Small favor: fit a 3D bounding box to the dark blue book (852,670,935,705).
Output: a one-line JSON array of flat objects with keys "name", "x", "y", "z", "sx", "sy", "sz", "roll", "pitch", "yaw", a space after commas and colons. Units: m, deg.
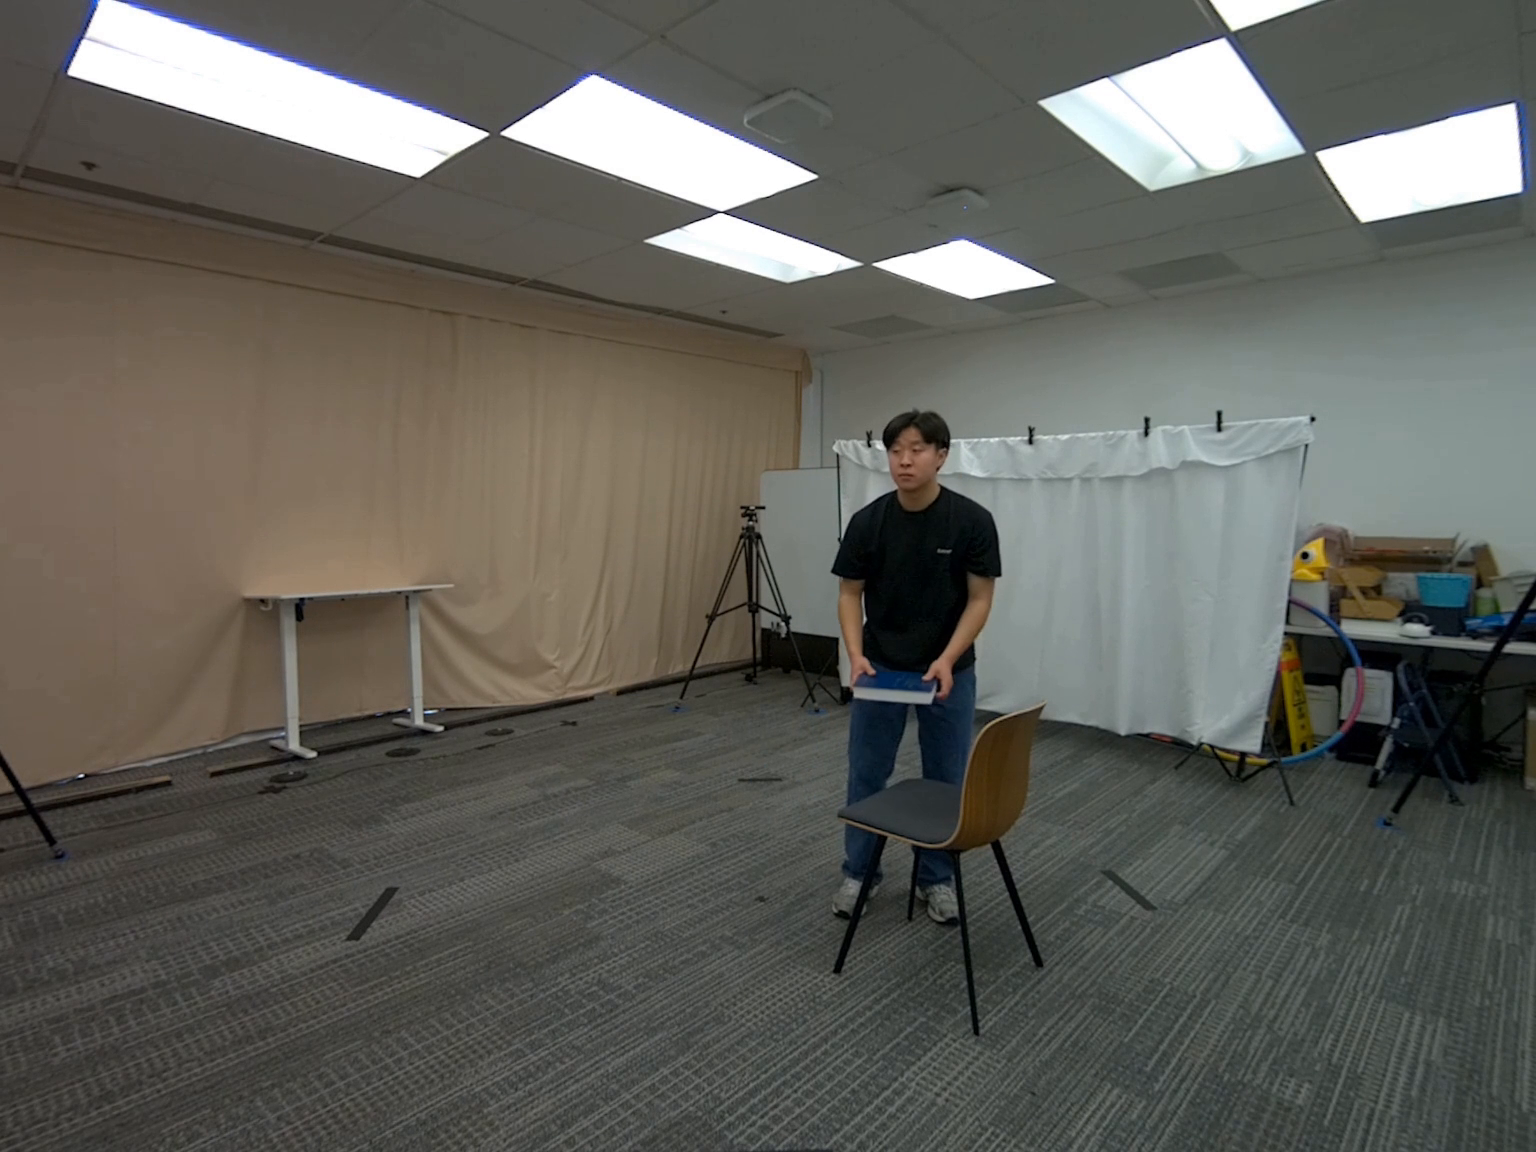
[{"name": "dark blue book", "x": 0.422, "y": 0.365, "z": 2.671, "sx": 0.250, "sy": 0.045, "sz": 0.161, "roll": 1, "pitch": 14, "yaw": 21}]
